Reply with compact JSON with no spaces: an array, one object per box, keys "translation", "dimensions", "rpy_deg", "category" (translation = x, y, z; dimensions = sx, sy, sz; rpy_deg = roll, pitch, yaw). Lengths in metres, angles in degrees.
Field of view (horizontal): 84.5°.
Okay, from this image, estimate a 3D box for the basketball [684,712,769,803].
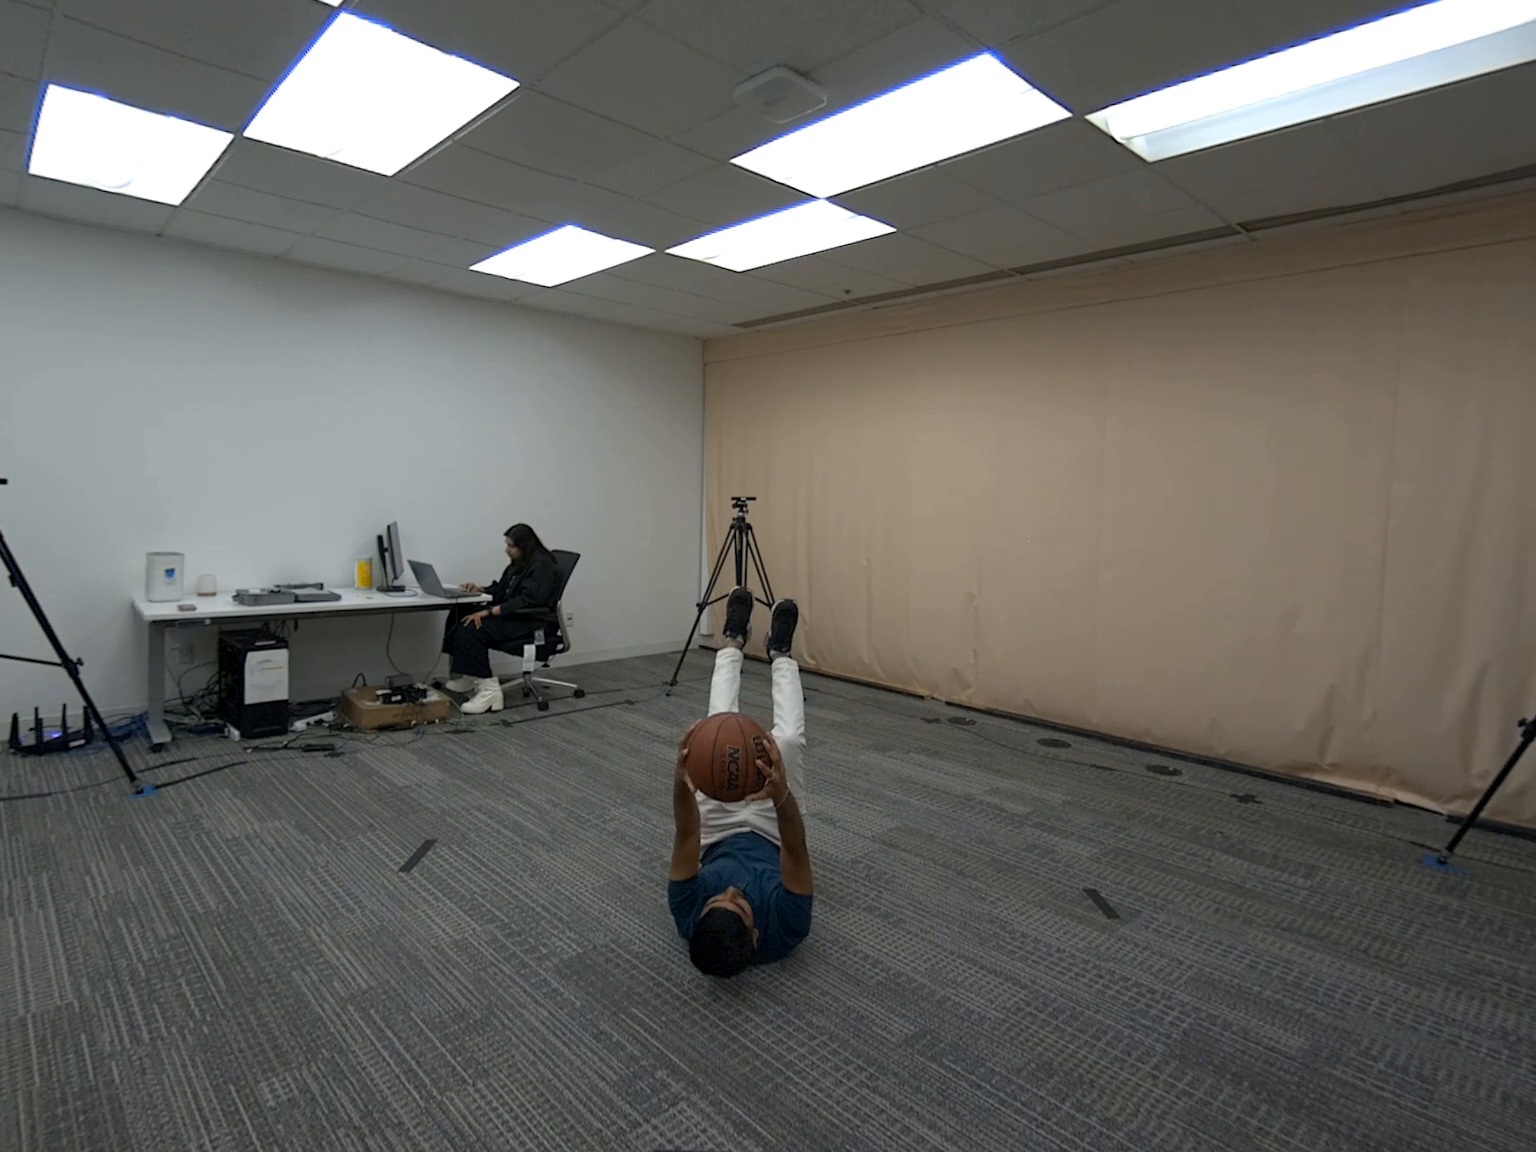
[{"translation":[-0.114,0.484,2.273],"dimensions":[0.236,0.235,0.237],"rpy_deg":[1,4,-1],"category":"basketball"}]
